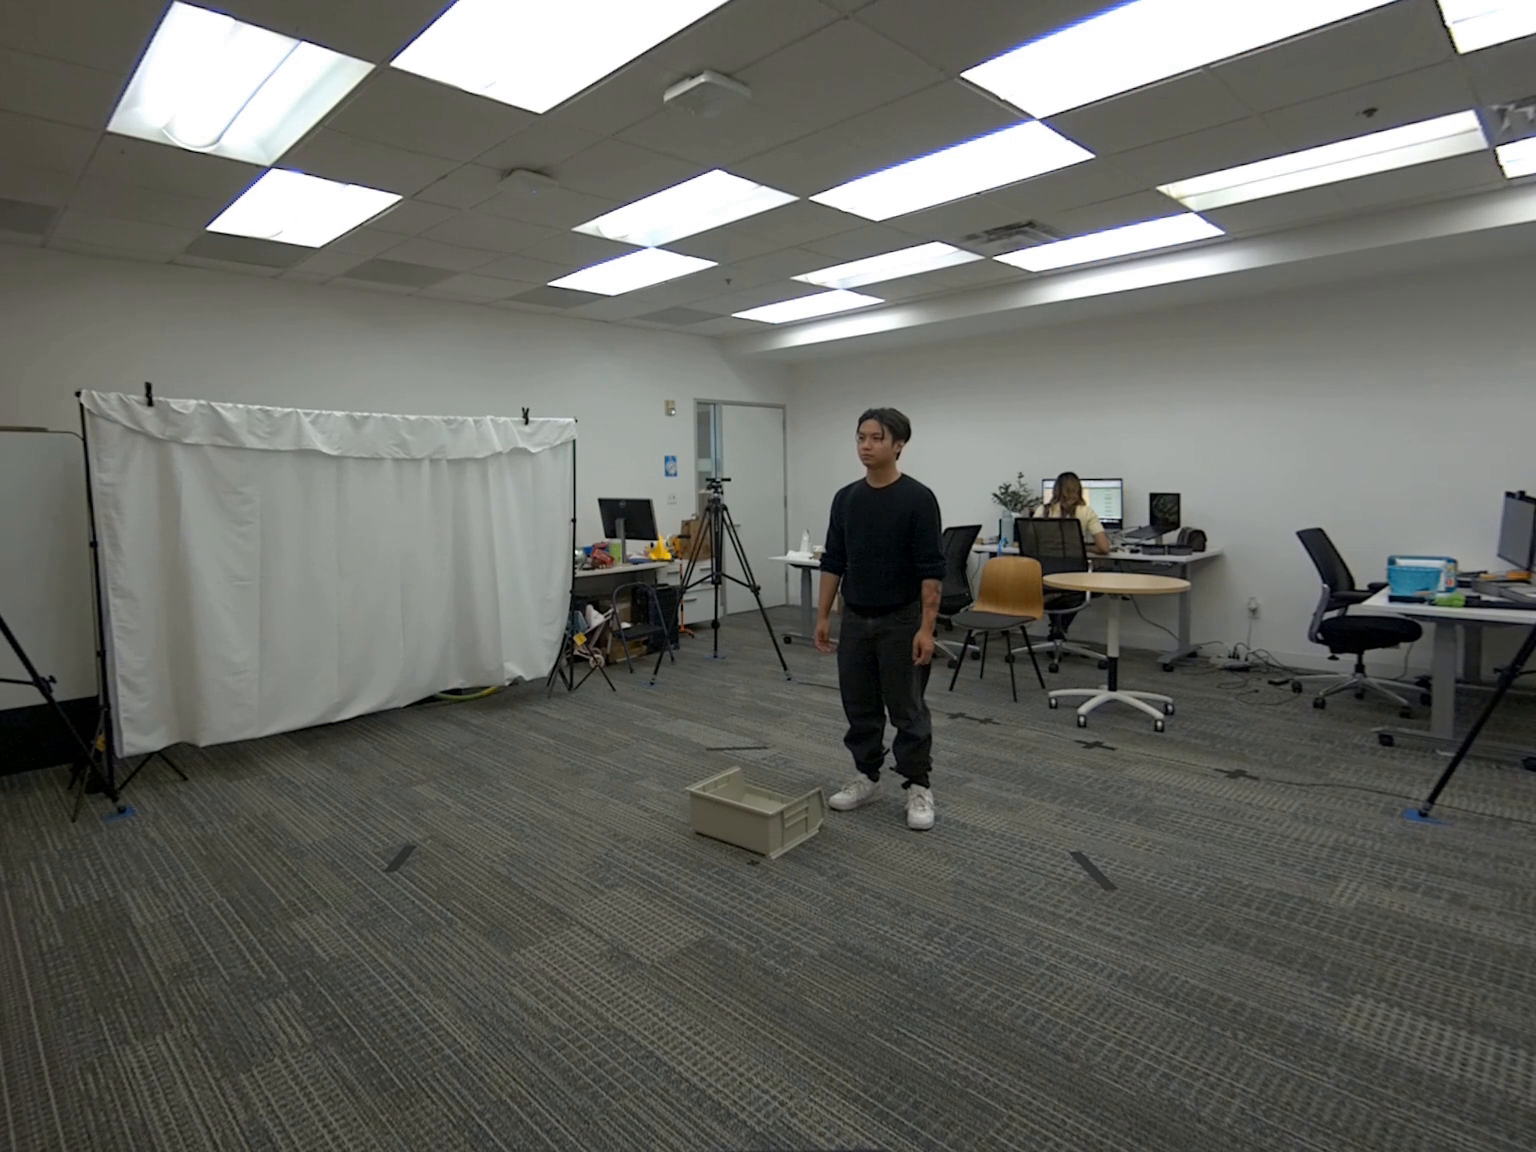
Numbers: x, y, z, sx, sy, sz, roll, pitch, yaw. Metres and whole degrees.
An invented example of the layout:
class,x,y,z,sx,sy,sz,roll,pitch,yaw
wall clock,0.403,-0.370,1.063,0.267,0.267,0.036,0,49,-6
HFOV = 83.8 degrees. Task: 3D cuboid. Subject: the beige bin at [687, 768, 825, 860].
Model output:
class,x,y,z,sx,sy,sz,roll,pitch,yaw
beige bin,-0.046,0.923,3.385,0.435,0.188,0.368,5,9,37
